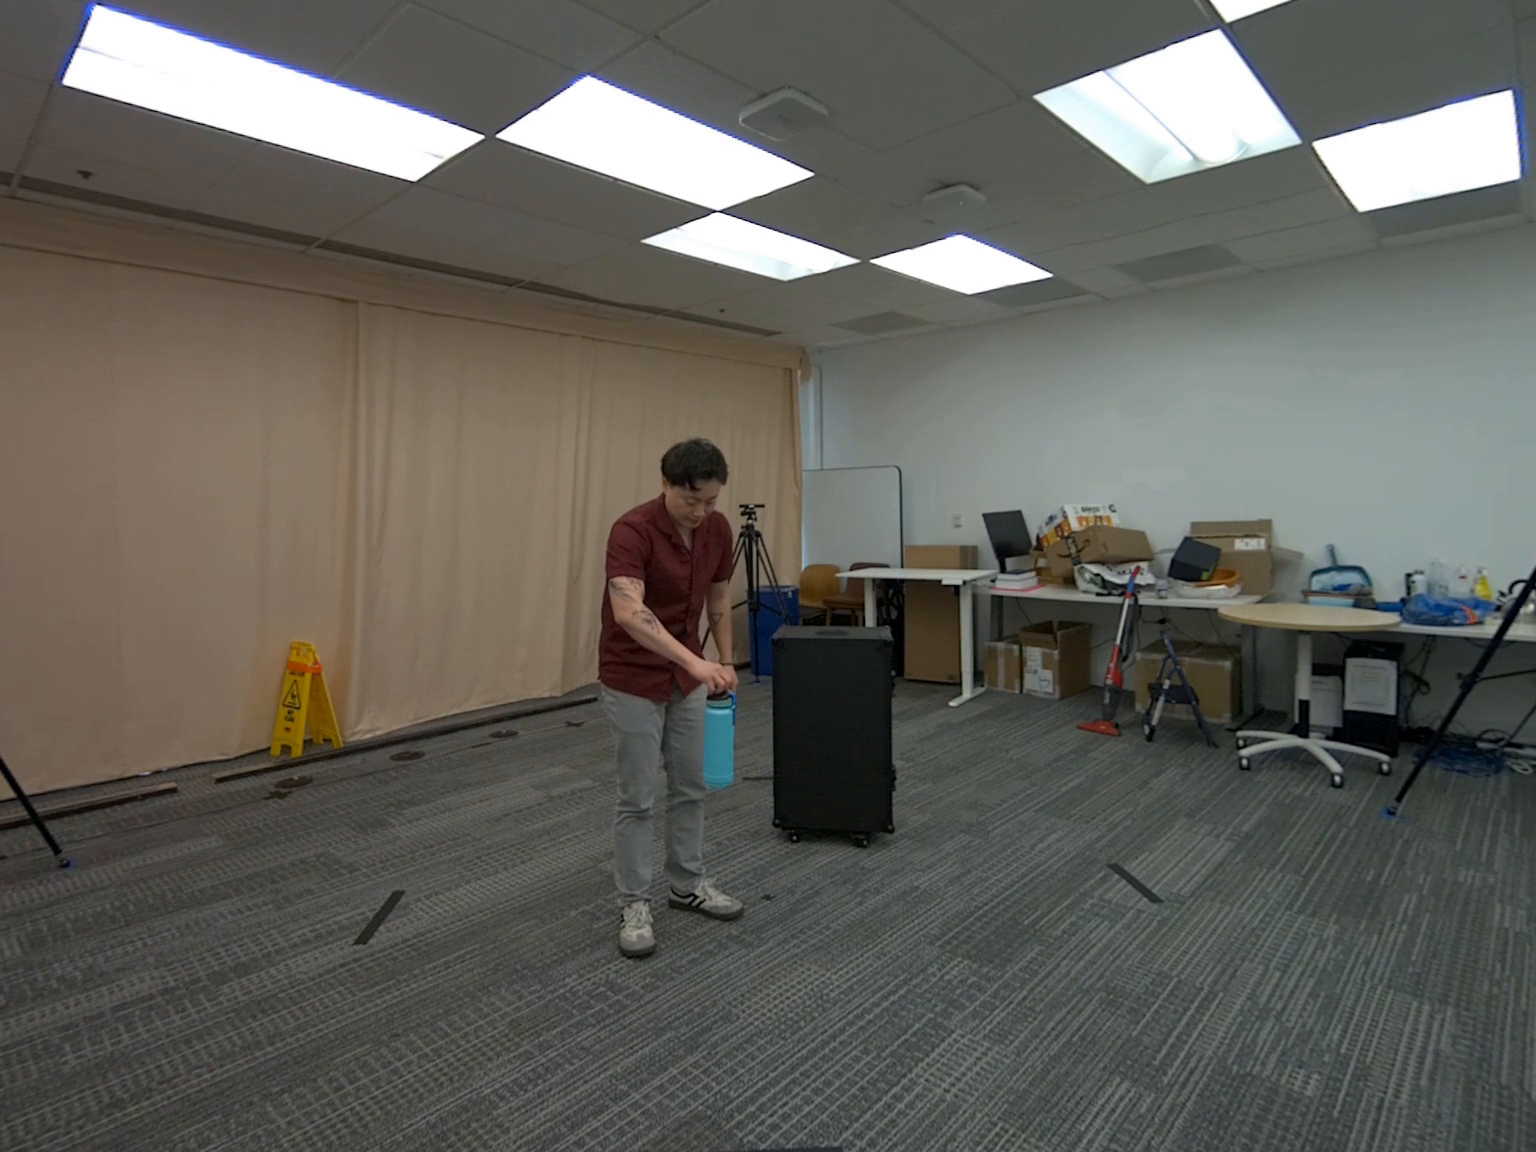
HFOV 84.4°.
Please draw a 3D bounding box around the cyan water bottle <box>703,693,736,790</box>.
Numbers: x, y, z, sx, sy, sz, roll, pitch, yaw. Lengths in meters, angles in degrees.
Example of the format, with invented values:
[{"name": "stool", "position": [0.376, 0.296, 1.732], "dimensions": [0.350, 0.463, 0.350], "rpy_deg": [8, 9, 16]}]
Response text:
[{"name": "cyan water bottle", "position": [-0.140, 0.466, 2.449], "dimensions": [0.092, 0.282, 0.093], "rpy_deg": [3, 8, -2]}]
